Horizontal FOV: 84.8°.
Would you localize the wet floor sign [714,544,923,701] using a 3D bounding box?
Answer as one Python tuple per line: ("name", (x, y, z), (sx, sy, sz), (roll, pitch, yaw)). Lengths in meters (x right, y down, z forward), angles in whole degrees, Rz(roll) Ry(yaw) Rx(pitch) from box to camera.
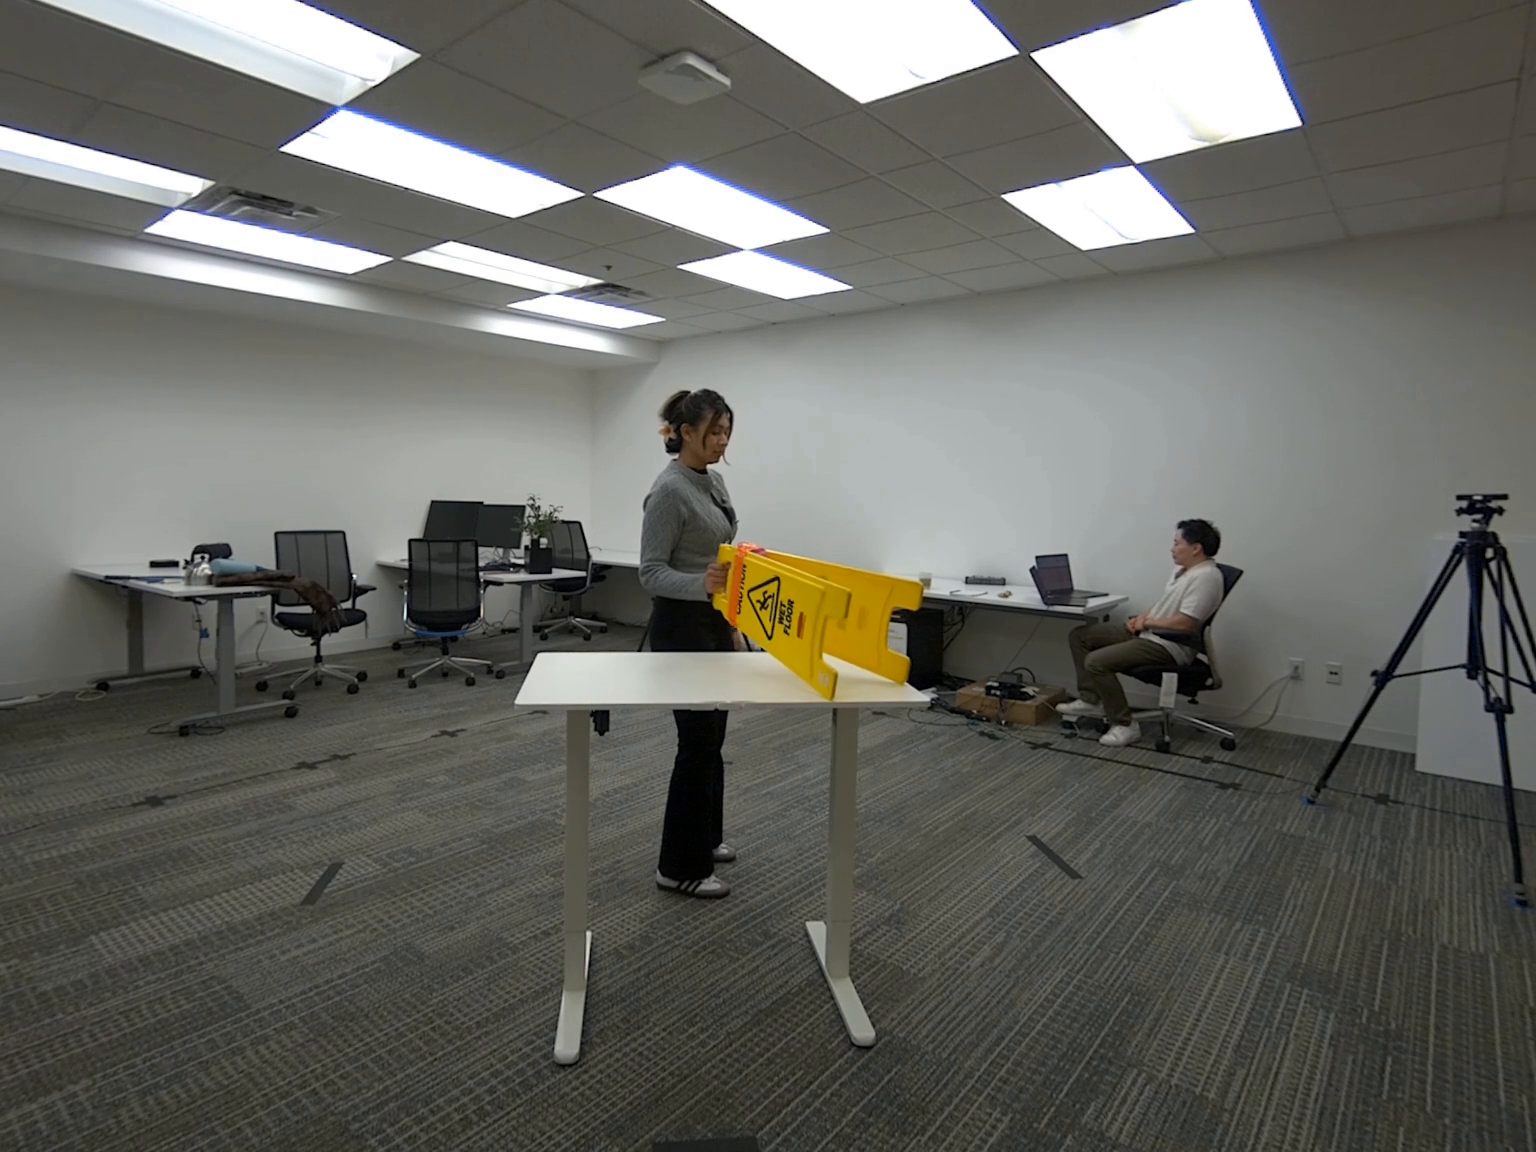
("wet floor sign", (0.057, 0.079, 2.367), (0.281, 0.279, 0.672), (-3, 16, -41))
